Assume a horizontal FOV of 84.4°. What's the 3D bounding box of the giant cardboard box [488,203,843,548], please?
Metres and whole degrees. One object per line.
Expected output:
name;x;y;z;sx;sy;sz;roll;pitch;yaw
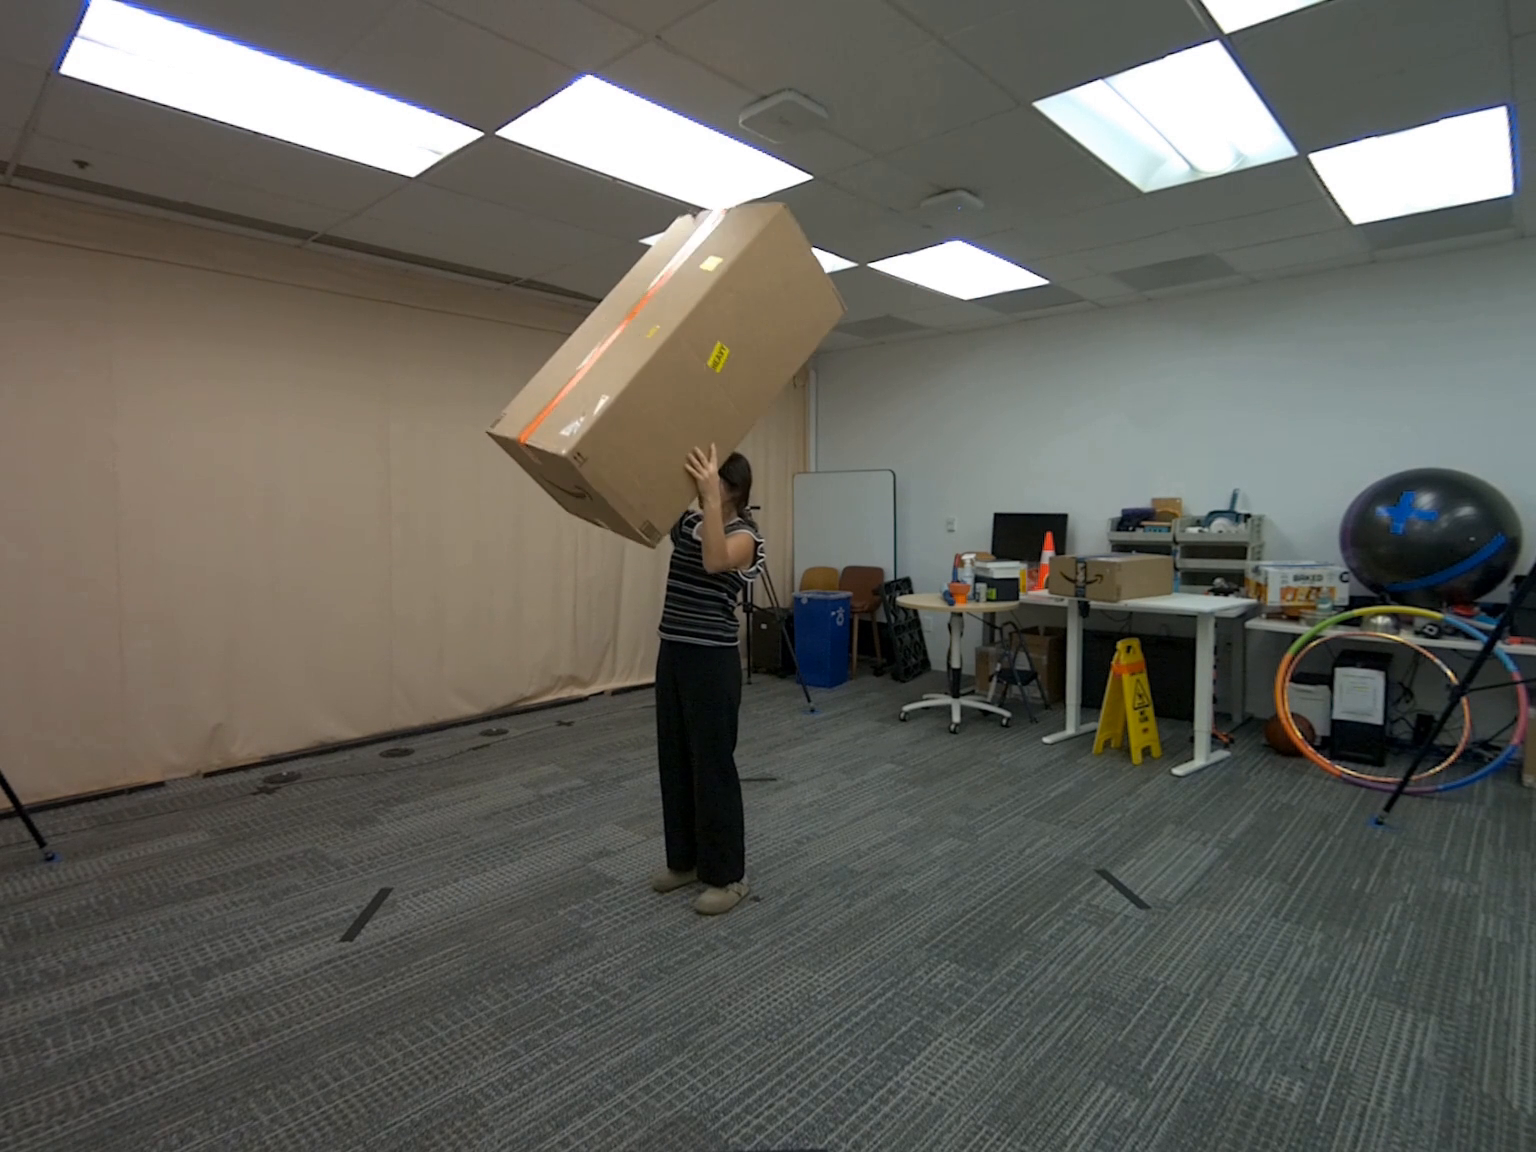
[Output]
giant cardboard box;-0.331;-0.650;2.732;0.599;1.023;0.412;22;-20;49
